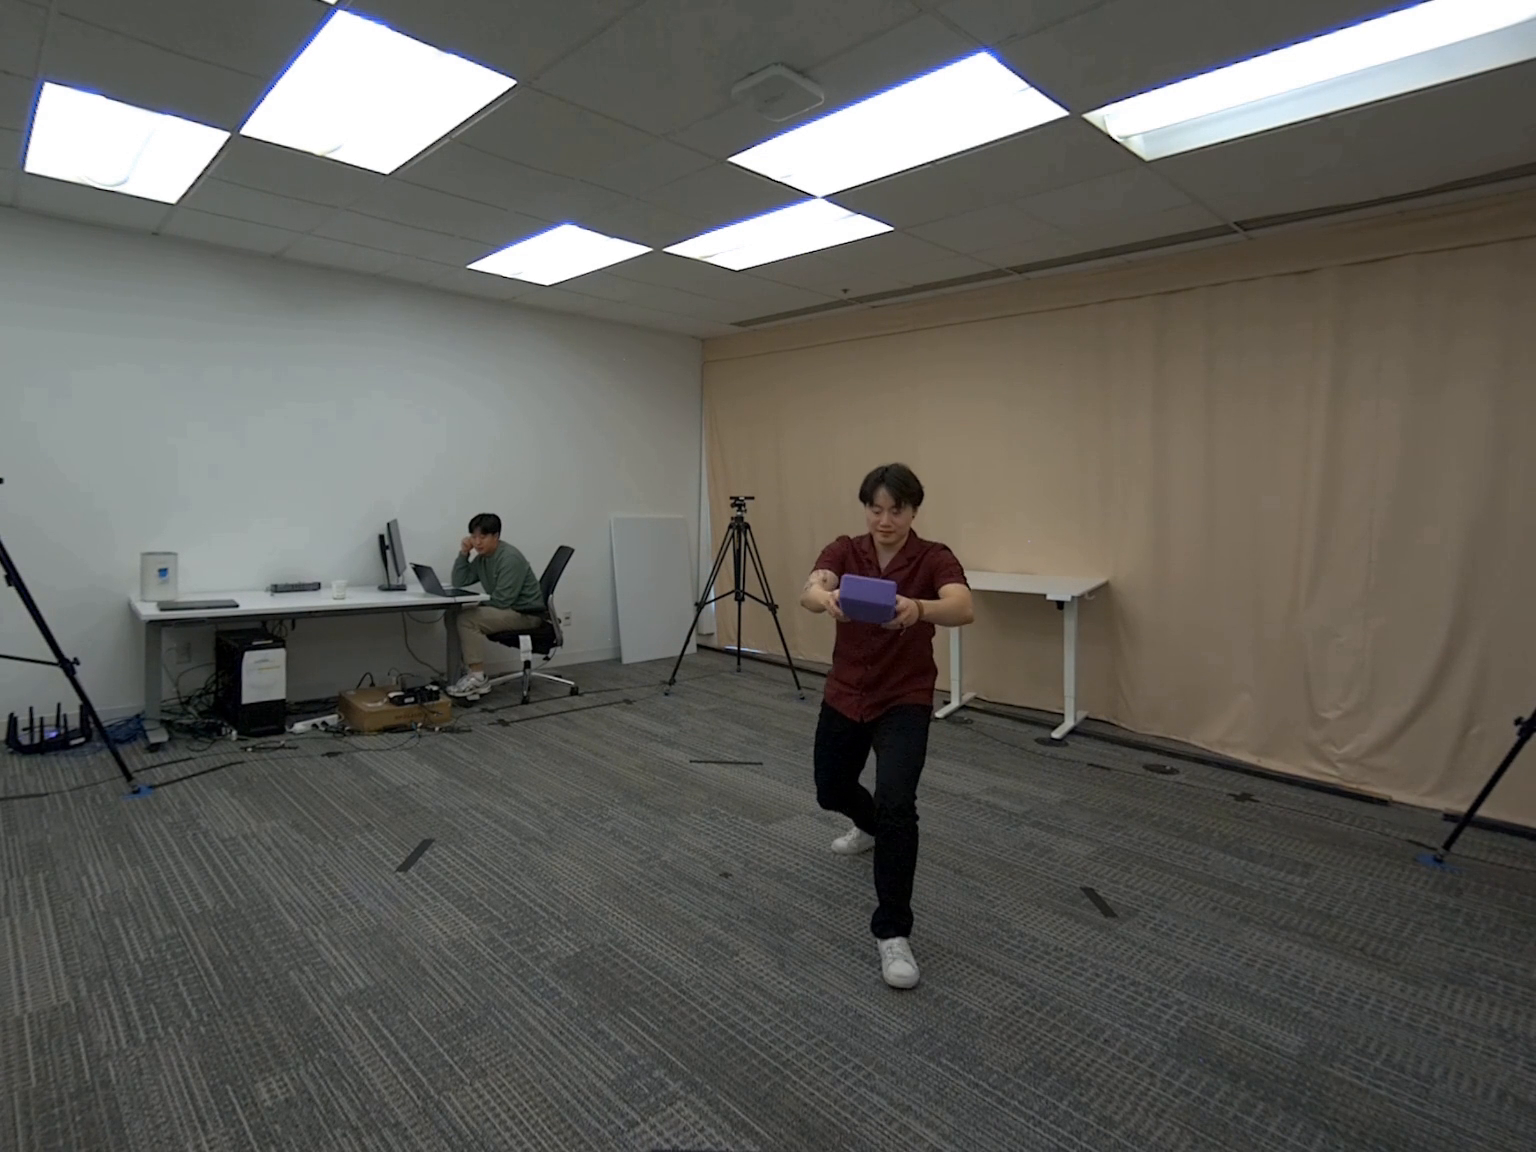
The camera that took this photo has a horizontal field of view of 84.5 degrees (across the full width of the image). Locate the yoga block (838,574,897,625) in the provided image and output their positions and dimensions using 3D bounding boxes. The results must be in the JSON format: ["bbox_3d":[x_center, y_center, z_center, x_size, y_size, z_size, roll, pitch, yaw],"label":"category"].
[{"bbox_3d":[0.273,0.083,2.338,0.151,0.077,0.225,8,-11,14],"label":"yoga block"}]
